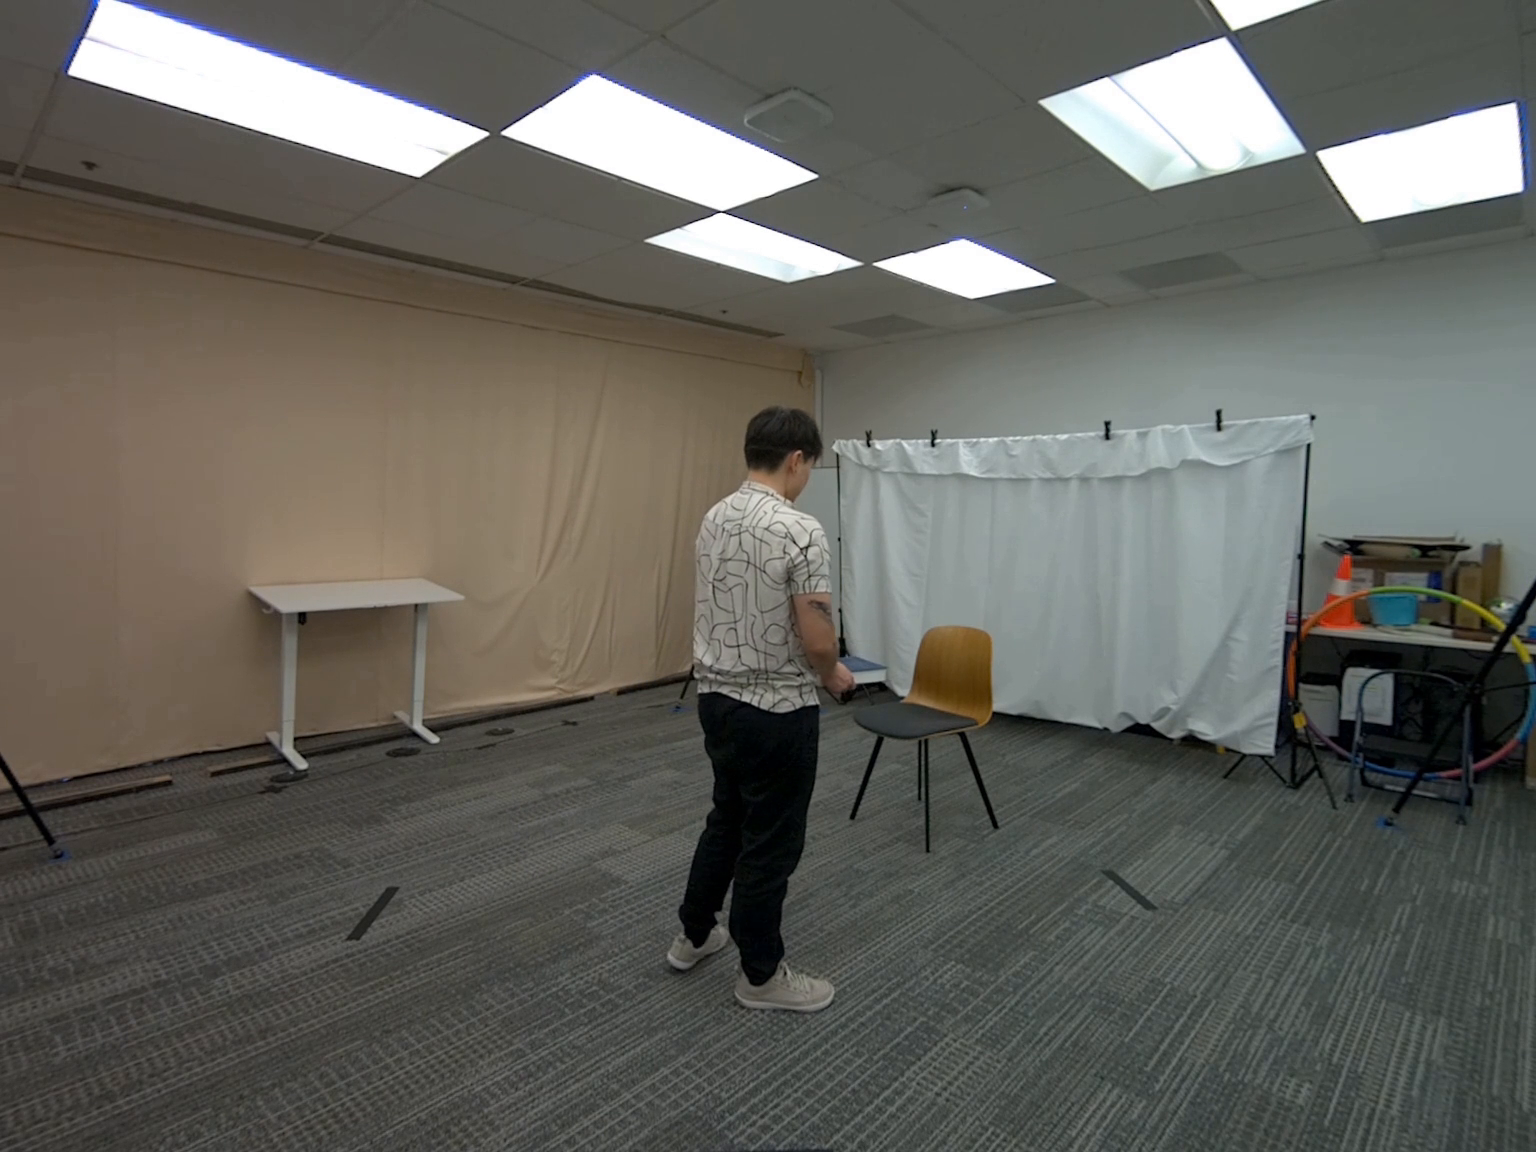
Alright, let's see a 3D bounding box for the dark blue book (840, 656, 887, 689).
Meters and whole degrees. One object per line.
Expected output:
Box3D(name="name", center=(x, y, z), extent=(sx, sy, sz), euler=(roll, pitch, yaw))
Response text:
Box3D(name="dark blue book", center=(0.207, 0.290, 2.493), extent=(0.239, 0.045, 0.168), euler=(-1, 9, -26))
